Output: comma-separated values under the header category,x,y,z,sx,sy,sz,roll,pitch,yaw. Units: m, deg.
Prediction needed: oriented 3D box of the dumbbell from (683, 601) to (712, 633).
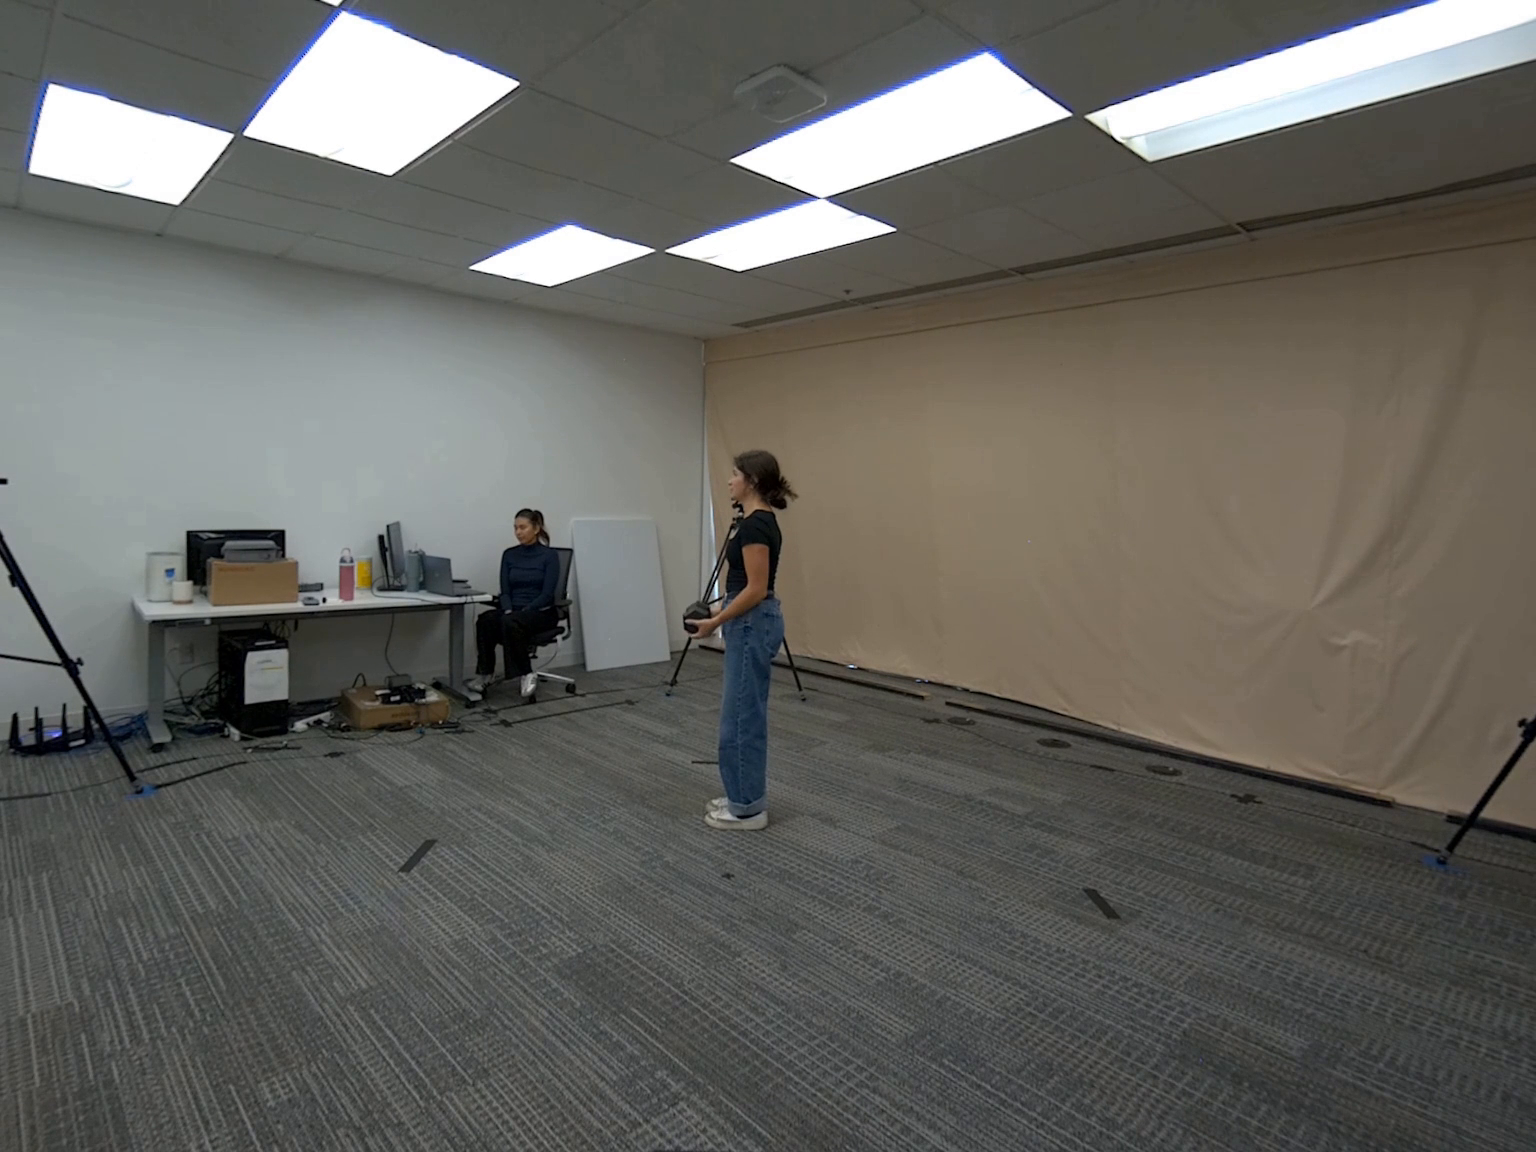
category,x,y,z,sx,sy,sz,roll,pitch,yaw
dumbbell,-0.307,0.168,3.652,0.122,0.108,0.295,29,4,-4
